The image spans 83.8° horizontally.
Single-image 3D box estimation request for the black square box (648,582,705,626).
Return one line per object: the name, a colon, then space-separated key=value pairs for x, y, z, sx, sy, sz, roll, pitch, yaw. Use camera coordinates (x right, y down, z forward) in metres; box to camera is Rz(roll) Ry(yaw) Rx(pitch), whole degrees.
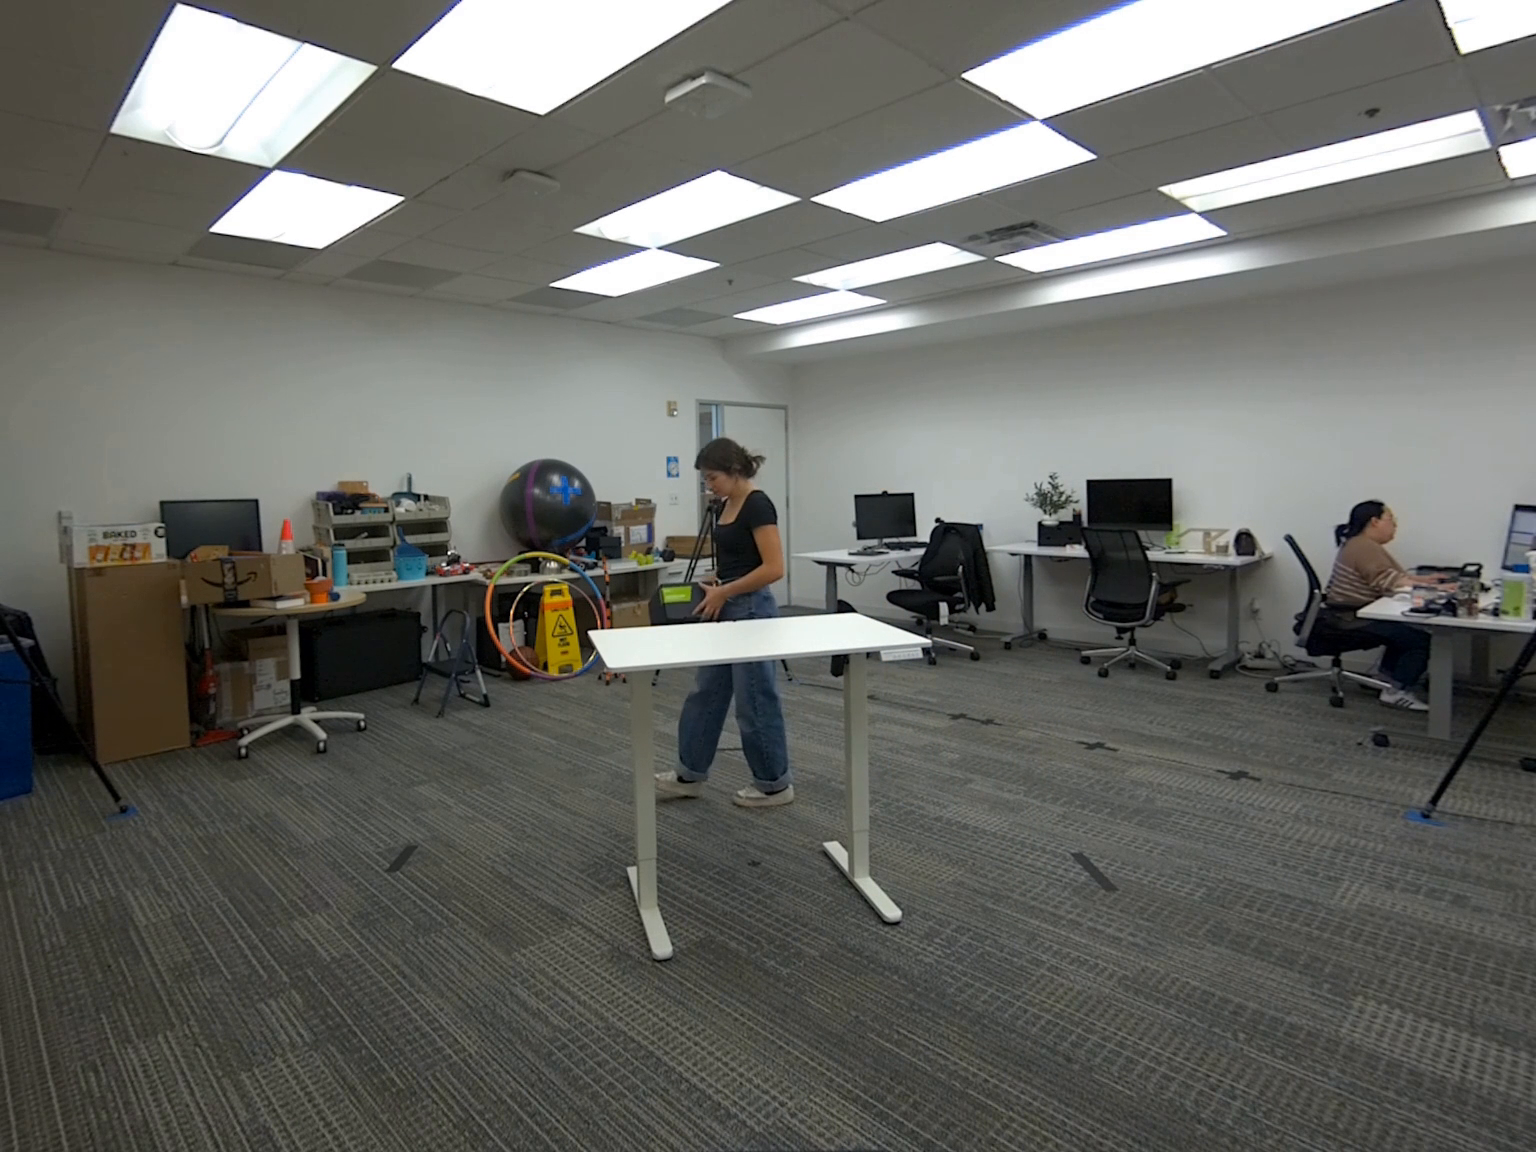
black square box: x=-0.358 y=0.131 z=3.584 sx=0.224 sy=0.159 sz=0.217 roll=-2 pitch=-20 yaw=-21
